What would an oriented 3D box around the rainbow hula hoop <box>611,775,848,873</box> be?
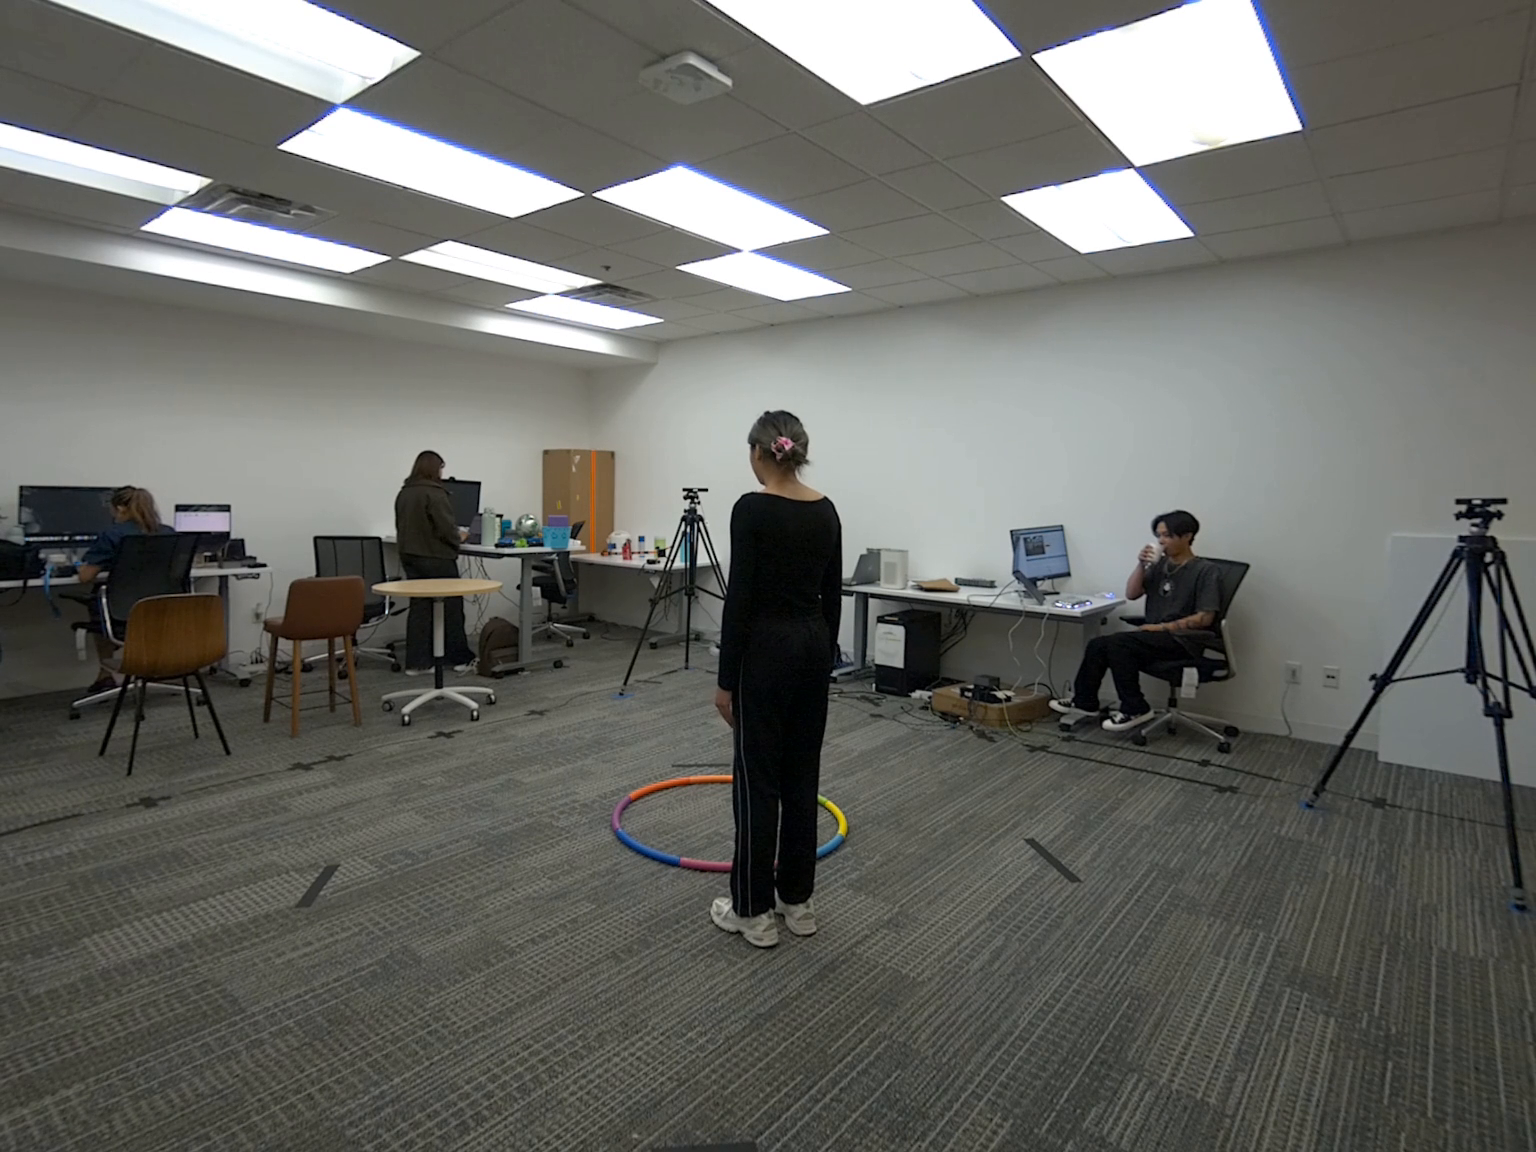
[{"bbox_3d":[-0.176,0.997,3.562,0.978,0.035,0.985,1,6,-2],"label":"rainbow hula hoop"}]
